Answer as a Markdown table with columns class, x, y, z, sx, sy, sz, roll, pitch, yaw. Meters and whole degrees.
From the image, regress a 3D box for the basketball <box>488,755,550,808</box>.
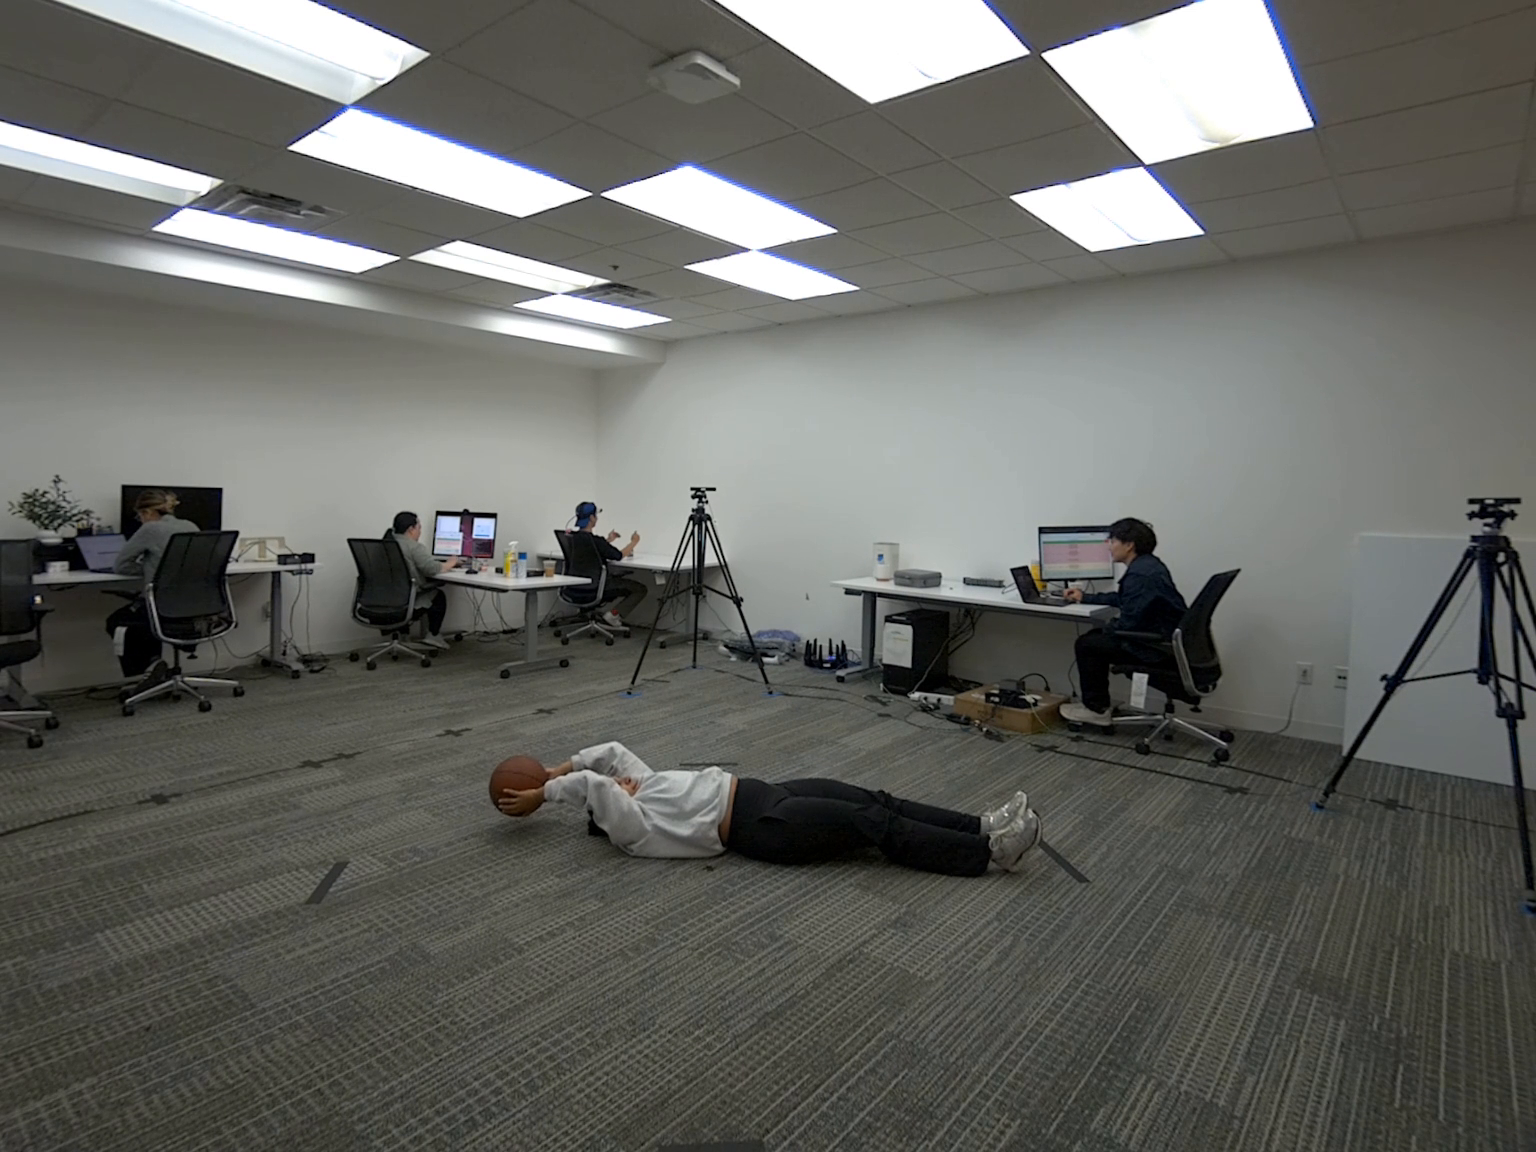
| class | x | y | z | sx | sy | sz | roll | pitch | yaw |
| --- | --- | --- | --- | --- | --- | --- | --- | --- | --- |
| basketball | -1.019 | 0.841 | 3.444 | 0.236 | 0.235 | 0.237 | 0 | 4 | -2 |
